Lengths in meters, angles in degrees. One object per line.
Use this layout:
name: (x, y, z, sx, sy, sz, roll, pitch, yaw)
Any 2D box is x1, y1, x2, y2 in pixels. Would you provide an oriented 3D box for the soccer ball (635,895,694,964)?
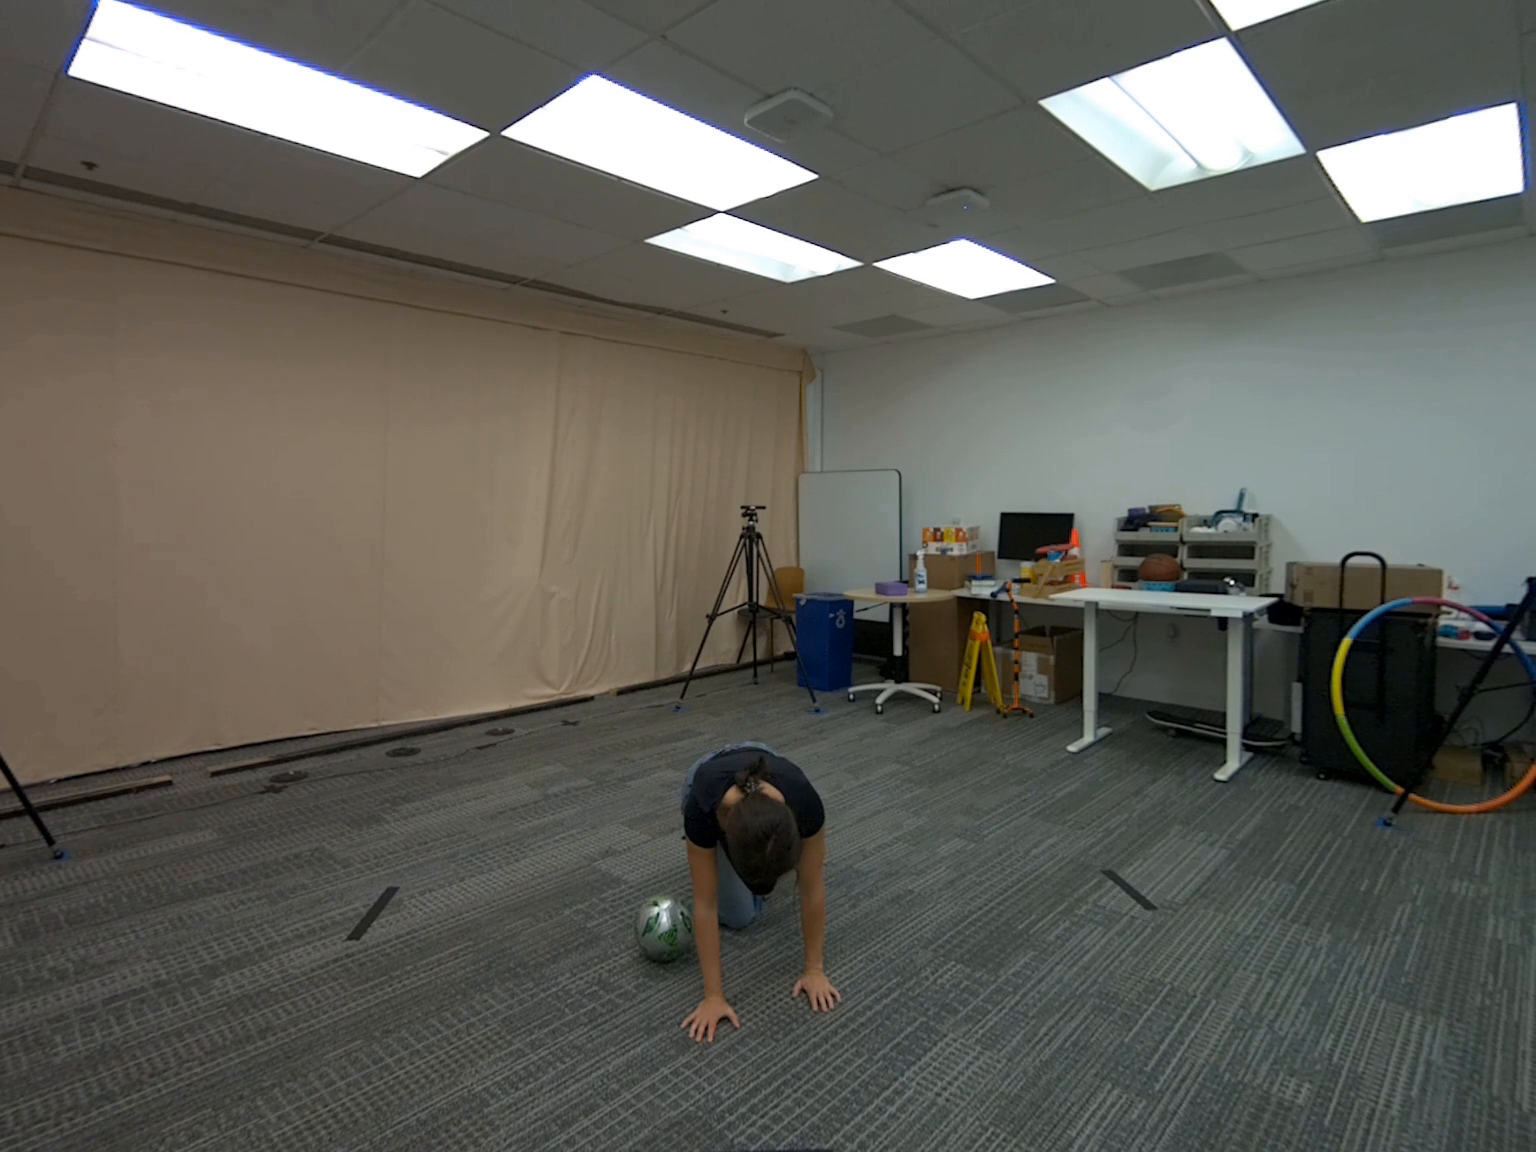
soccer ball: (-0.313, 1.083, 2.595, 0.187, 0.187, 0.188, 0, 4, -2)
